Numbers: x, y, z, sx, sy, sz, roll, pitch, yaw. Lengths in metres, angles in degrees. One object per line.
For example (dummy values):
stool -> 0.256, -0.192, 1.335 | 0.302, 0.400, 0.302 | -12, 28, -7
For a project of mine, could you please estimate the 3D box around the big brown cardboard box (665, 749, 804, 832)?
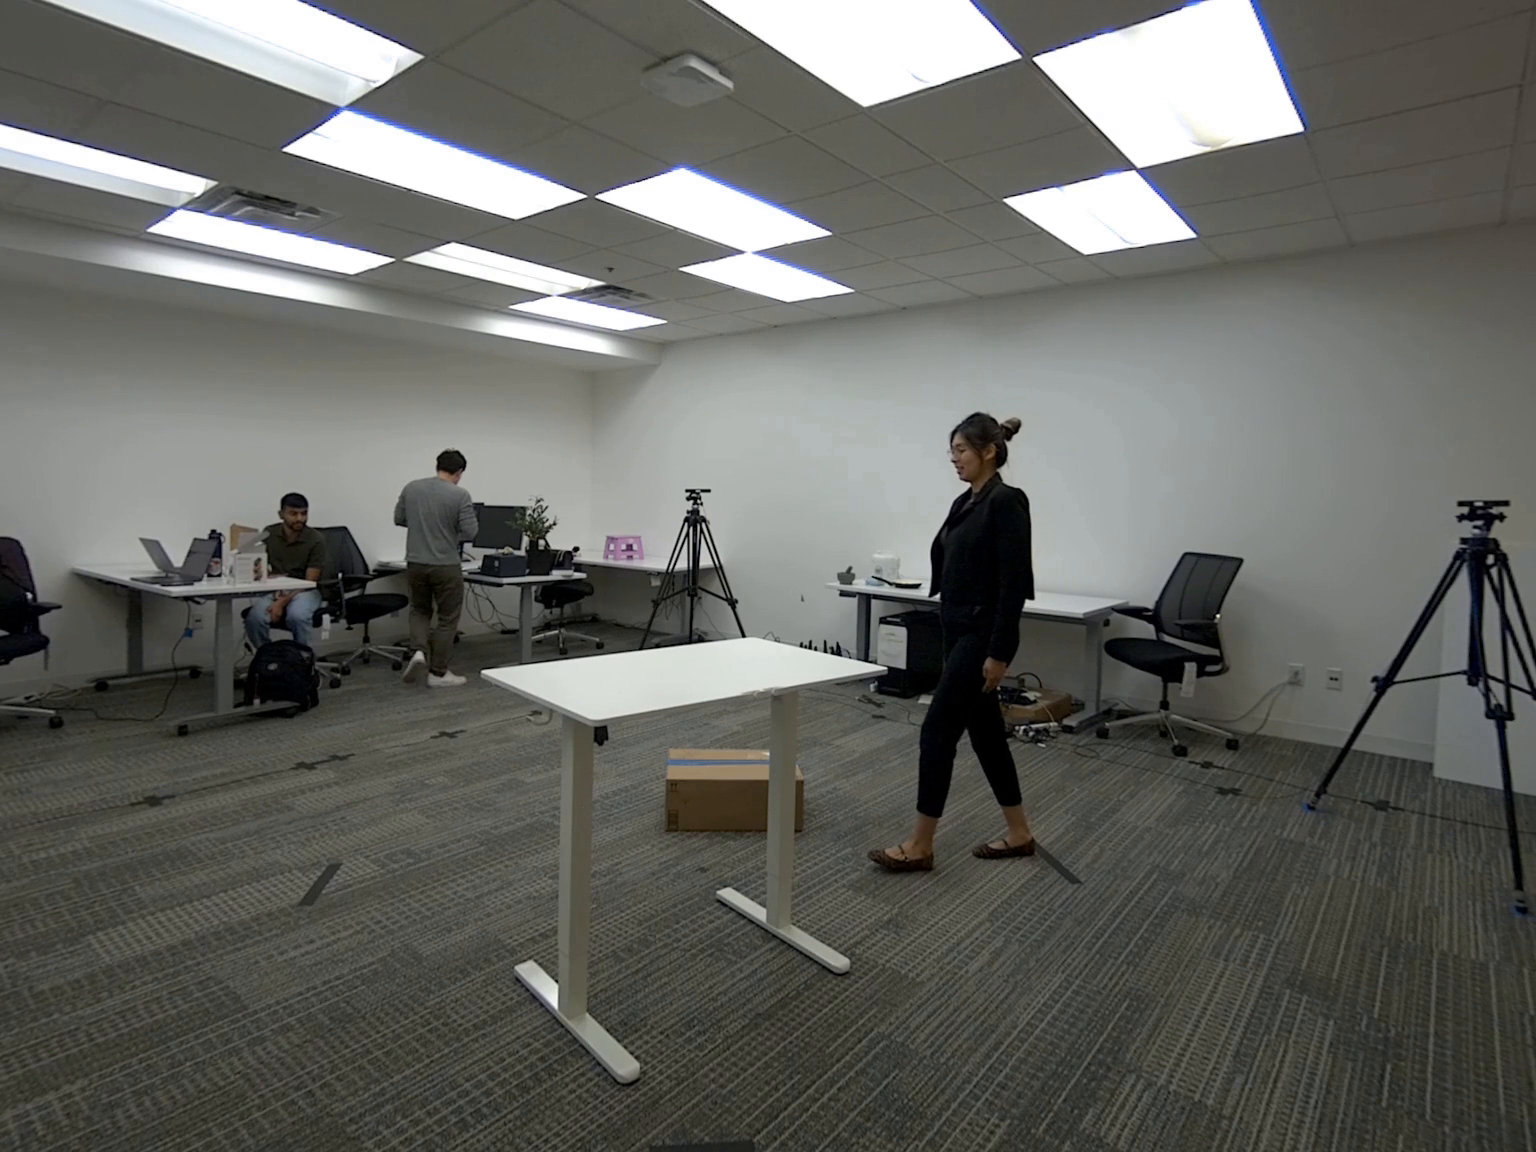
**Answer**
big brown cardboard box -> -0.163, 0.909, 3.673 | 0.587, 0.232, 0.421 | 0, 5, -4
